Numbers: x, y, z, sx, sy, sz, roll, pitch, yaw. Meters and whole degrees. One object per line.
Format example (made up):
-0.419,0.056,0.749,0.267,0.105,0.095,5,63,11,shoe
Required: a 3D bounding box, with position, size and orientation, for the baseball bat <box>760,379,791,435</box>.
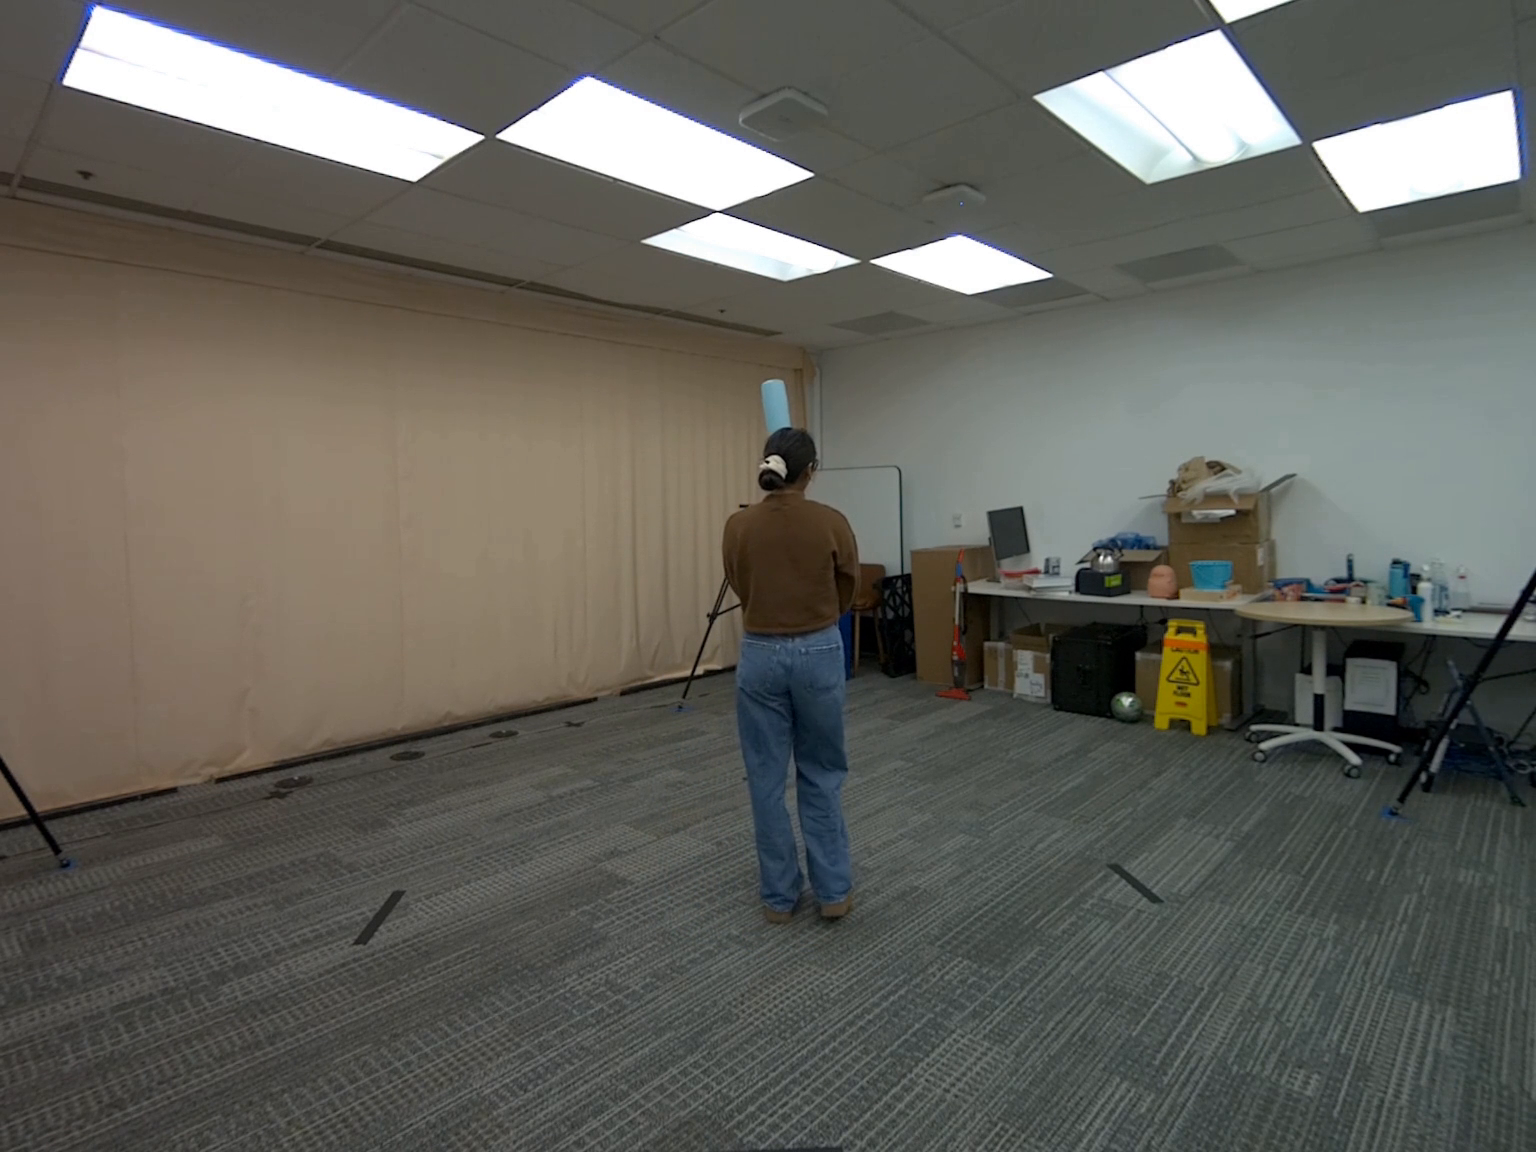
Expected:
0.062,-0.441,3.019,0.089,0.545,0.089,-9,-5,-2,baseball bat
